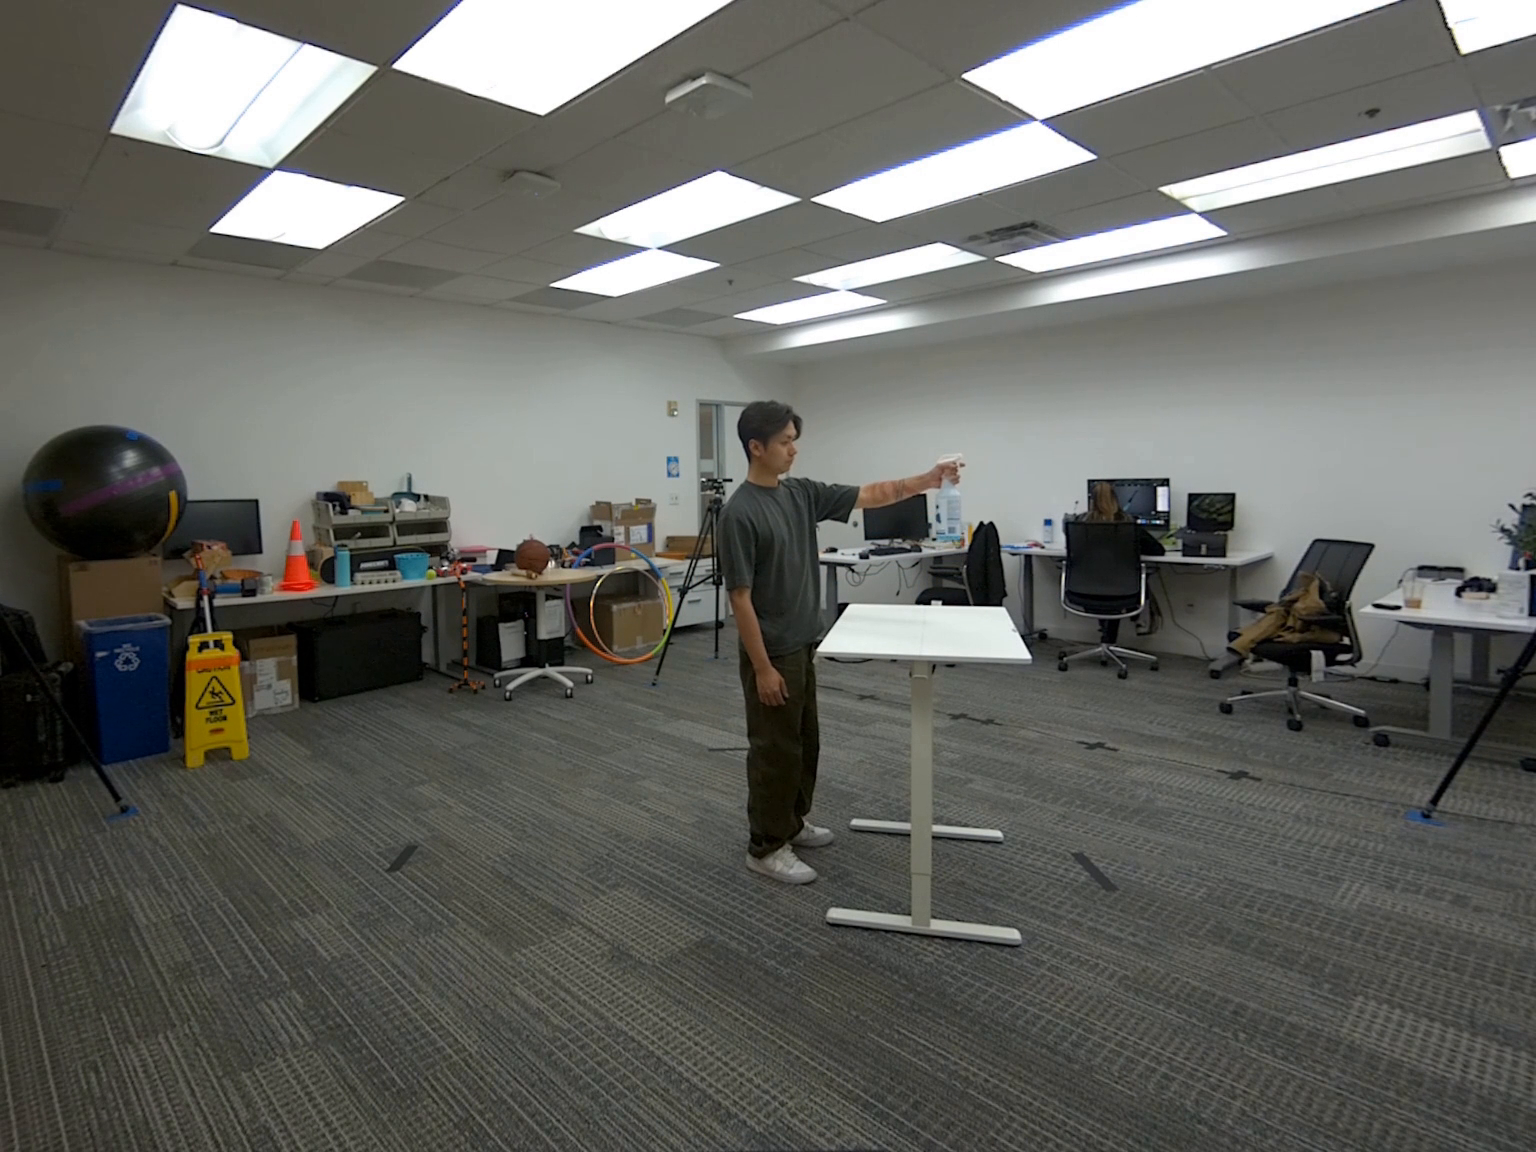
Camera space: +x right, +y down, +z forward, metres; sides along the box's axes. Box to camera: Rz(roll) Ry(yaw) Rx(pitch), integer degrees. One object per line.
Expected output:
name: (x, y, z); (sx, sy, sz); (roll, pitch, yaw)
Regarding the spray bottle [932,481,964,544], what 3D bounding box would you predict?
spray bottle: (0.629, -0.269, 2.963); (0.085, 0.296, 0.092); (-4, 4, -30)
